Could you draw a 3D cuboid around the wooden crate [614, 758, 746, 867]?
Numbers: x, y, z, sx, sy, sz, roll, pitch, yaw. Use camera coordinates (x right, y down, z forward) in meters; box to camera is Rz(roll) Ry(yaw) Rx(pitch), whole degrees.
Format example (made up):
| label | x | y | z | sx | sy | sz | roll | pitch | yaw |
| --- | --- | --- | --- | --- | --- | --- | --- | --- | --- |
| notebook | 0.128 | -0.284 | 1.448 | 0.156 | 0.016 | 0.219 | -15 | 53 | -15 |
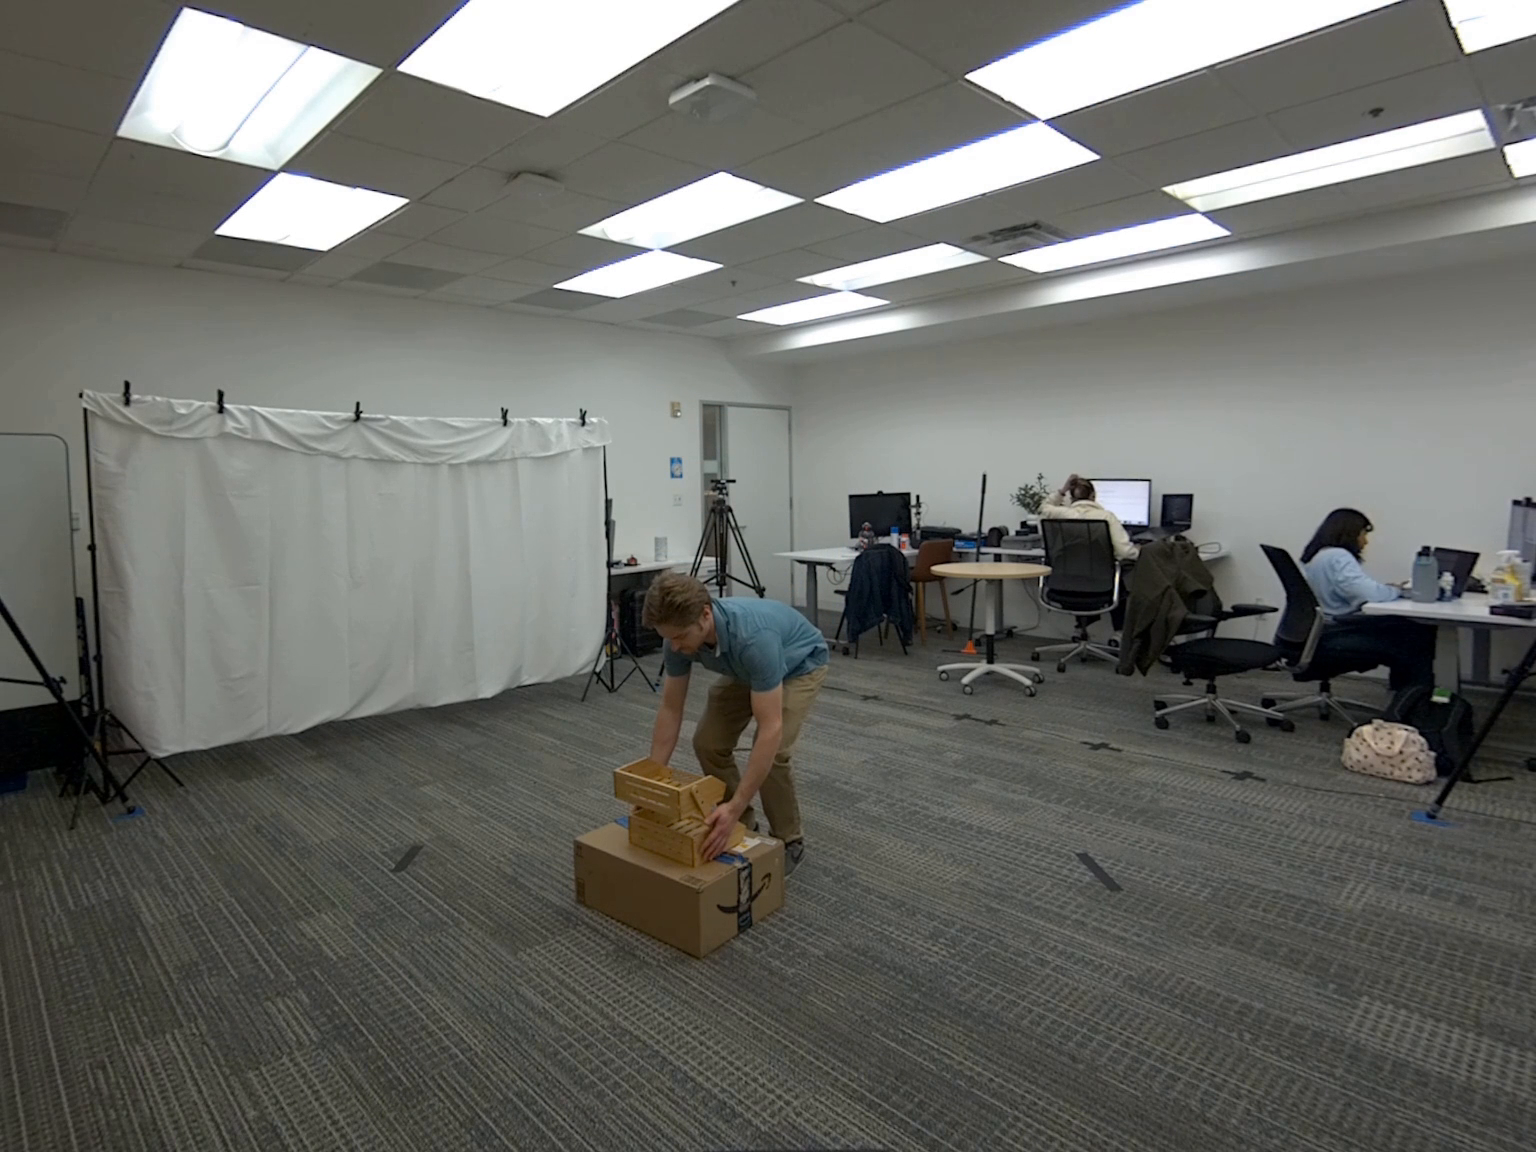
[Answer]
| label | x | y | z | sx | sy | sz | roll | pitch | yaw |
| --- | --- | --- | --- | --- | --- | --- | --- | --- | --- |
| wooden crate | -0.279 | 0.744 | 2.782 | 0.334 | 0.272 | 0.295 | 2 | 8 | 40 |
